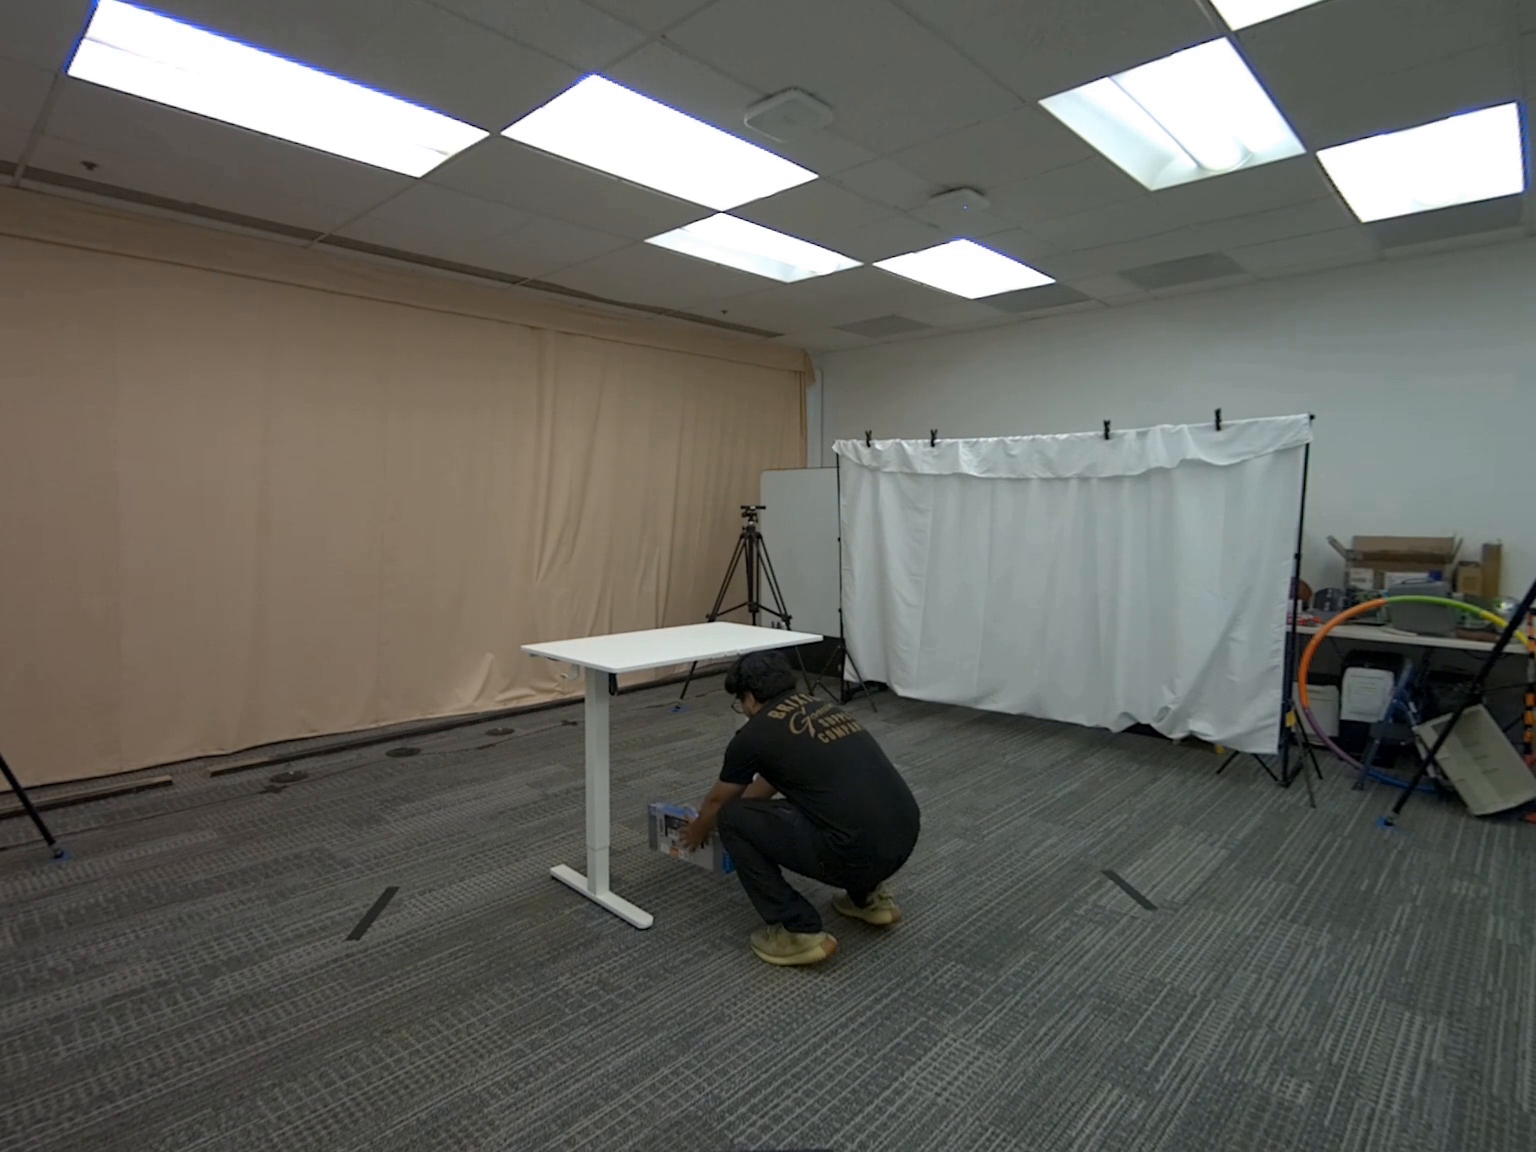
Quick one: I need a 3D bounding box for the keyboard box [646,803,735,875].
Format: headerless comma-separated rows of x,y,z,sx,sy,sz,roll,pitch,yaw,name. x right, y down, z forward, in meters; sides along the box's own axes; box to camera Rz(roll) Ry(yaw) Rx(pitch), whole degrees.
-0.297,0.989,3.183,0.057,0.176,0.451,-2,1,-44,keyboard box
